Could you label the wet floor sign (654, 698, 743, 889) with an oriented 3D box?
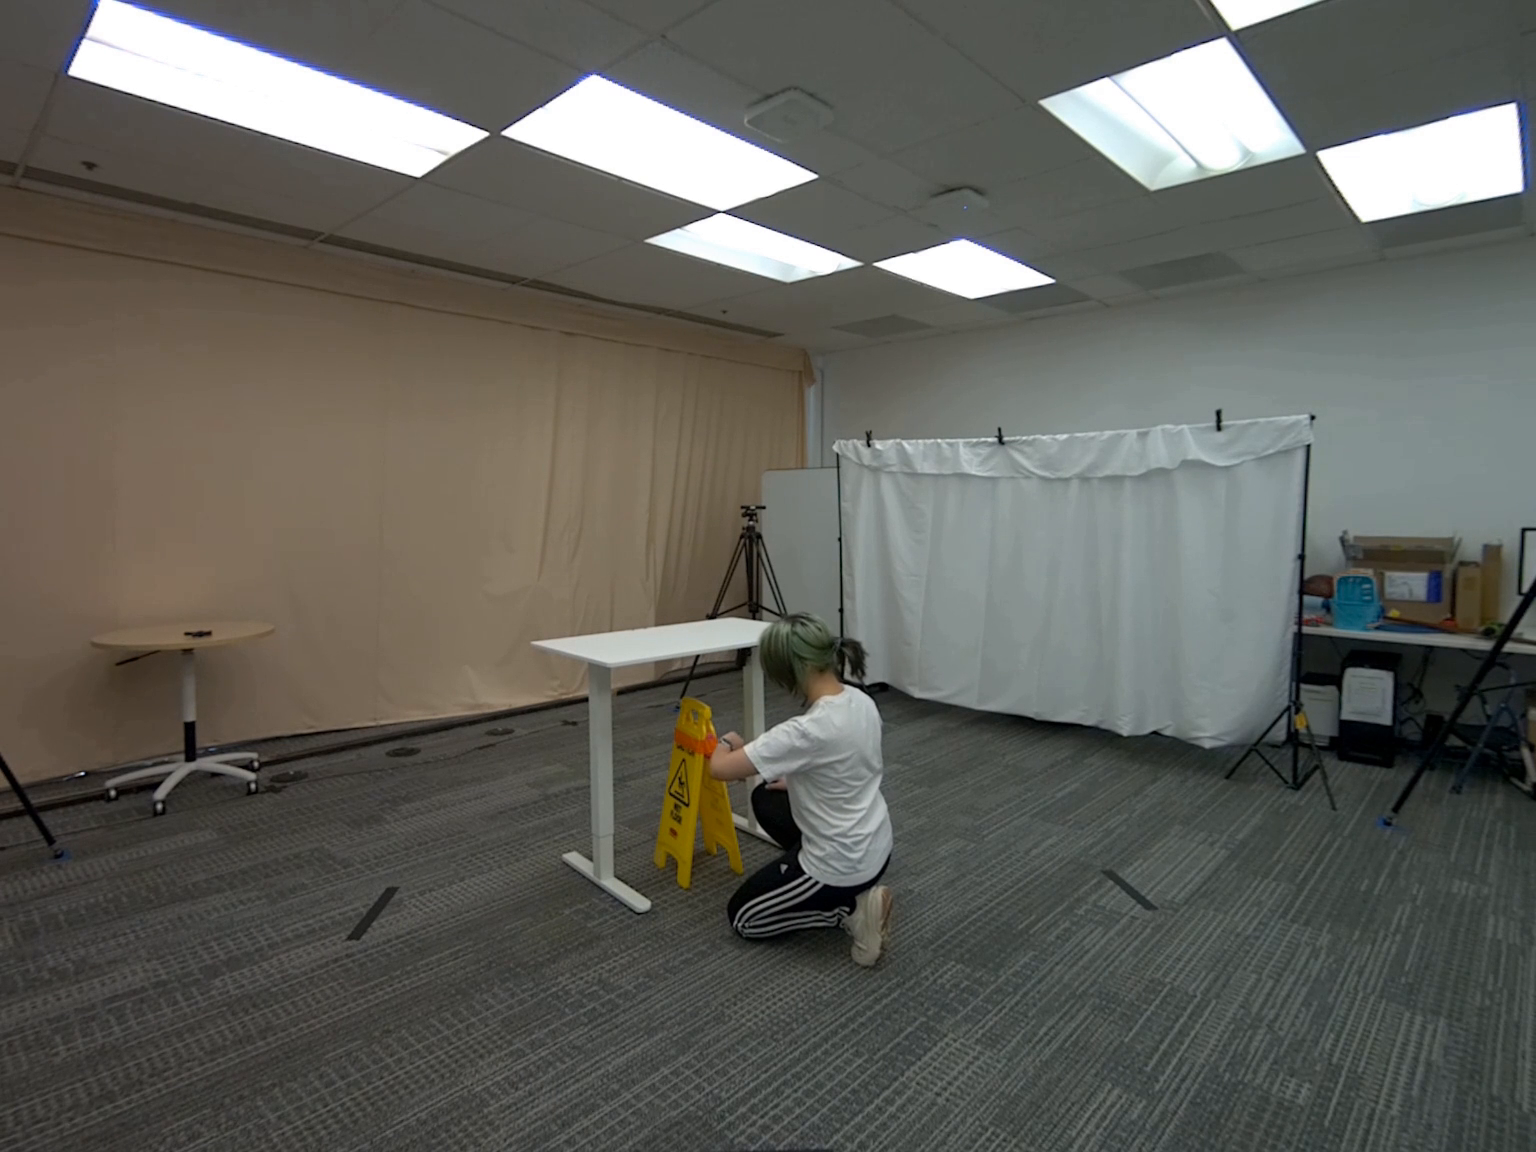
[{"bbox_3d":[-0.271,0.799,3.221,0.282,0.645,0.290,-2,4,-30],"label":"wet floor sign"}]
